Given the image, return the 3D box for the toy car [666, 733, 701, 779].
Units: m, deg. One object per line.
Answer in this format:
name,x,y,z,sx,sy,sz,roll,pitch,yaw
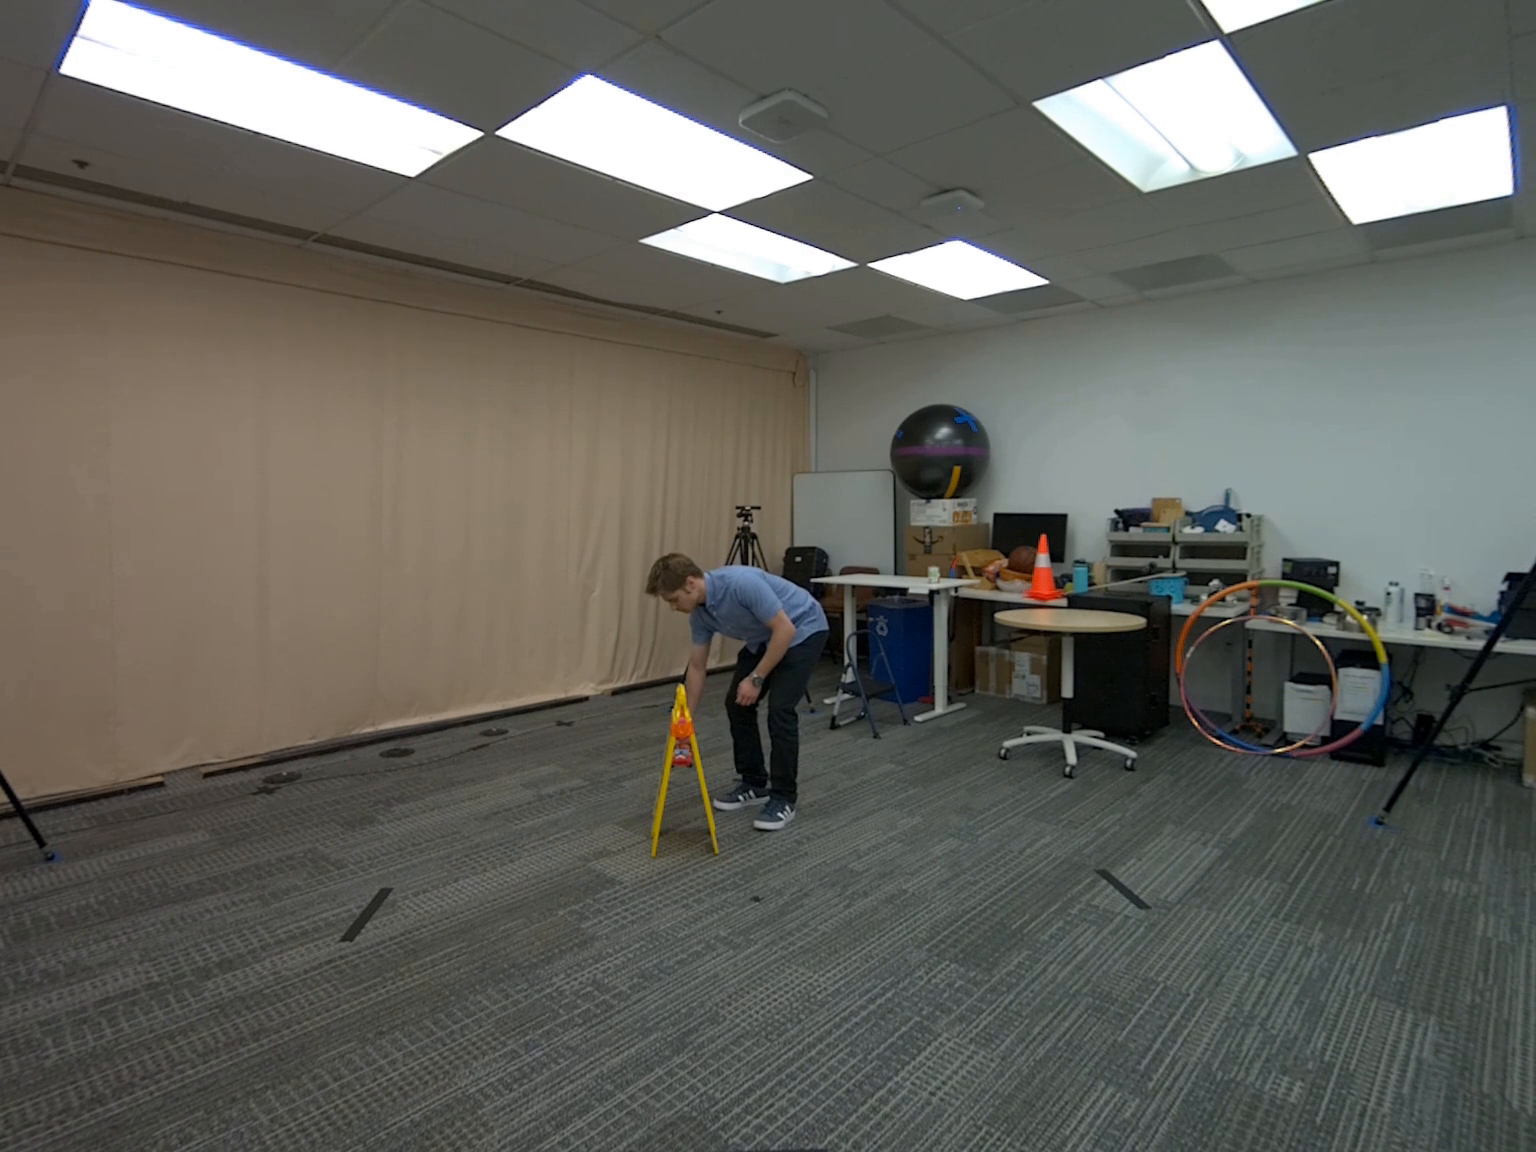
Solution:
toy car,-0.392,0.833,3.944,0.131,0.082,0.257,-4,18,1
